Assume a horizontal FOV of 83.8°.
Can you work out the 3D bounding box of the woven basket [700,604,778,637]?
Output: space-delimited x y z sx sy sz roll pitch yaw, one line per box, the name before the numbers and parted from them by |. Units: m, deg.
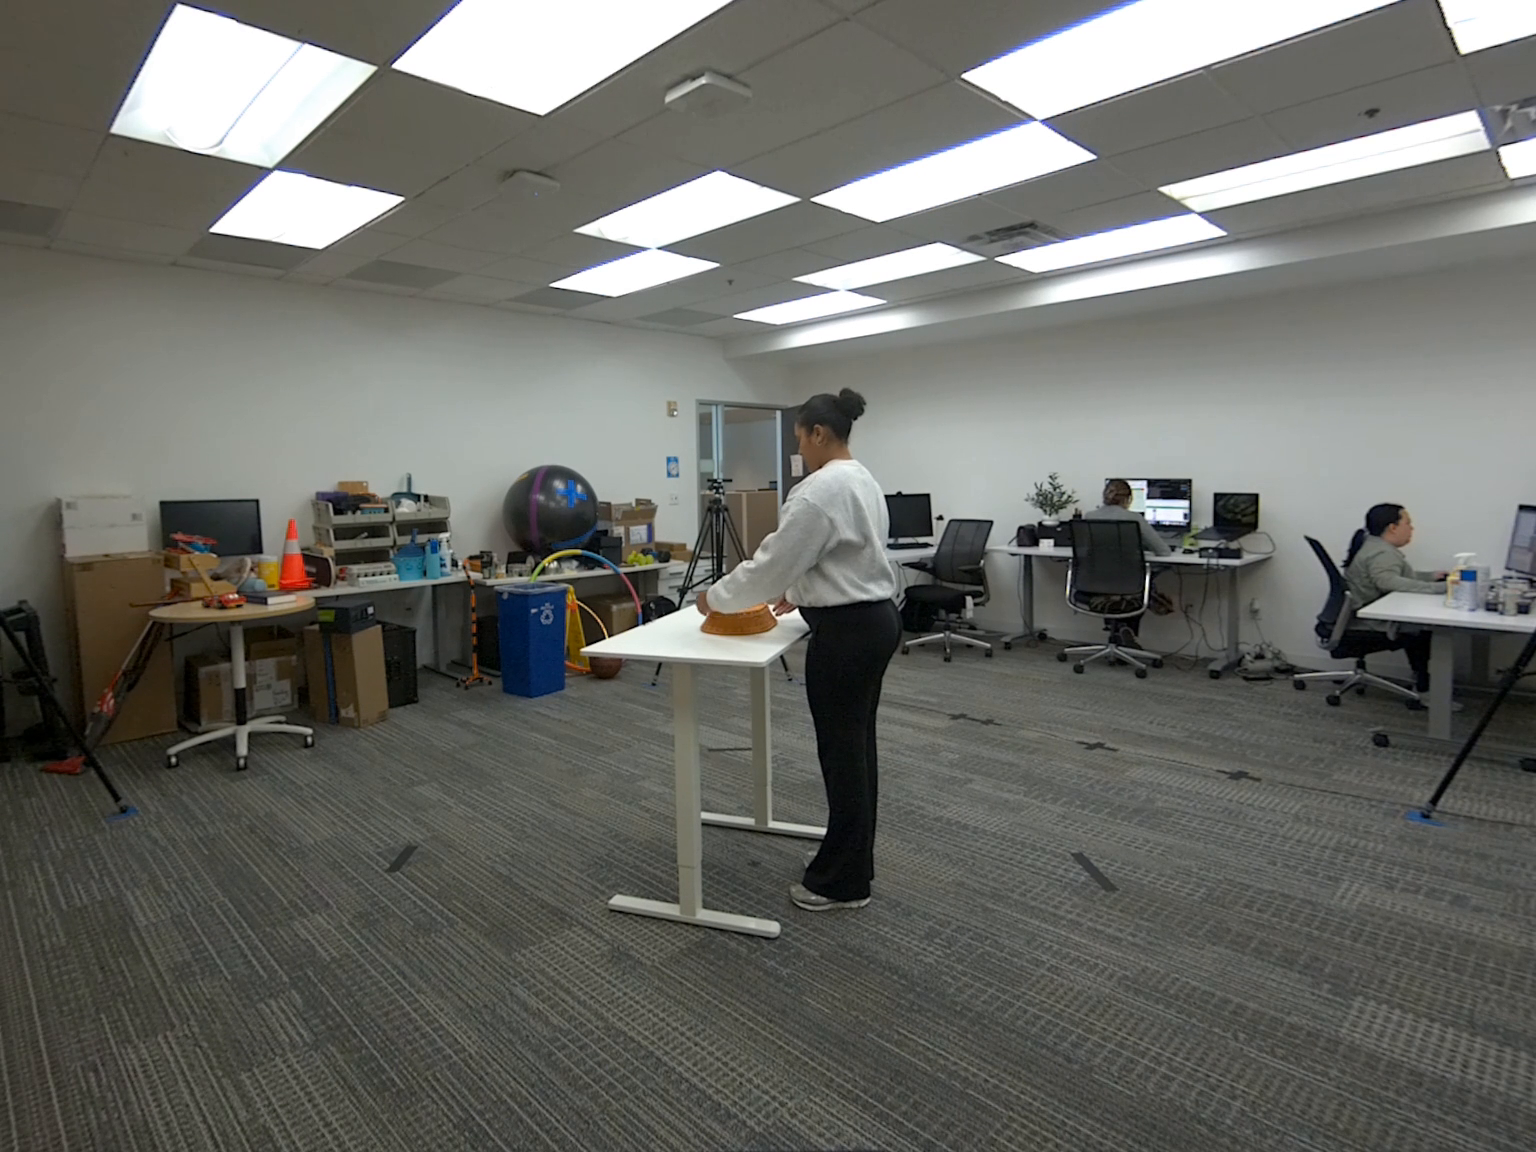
woven basket | -0.084 0.146 2.989 0.254 0.073 0.349 -1 6 7
